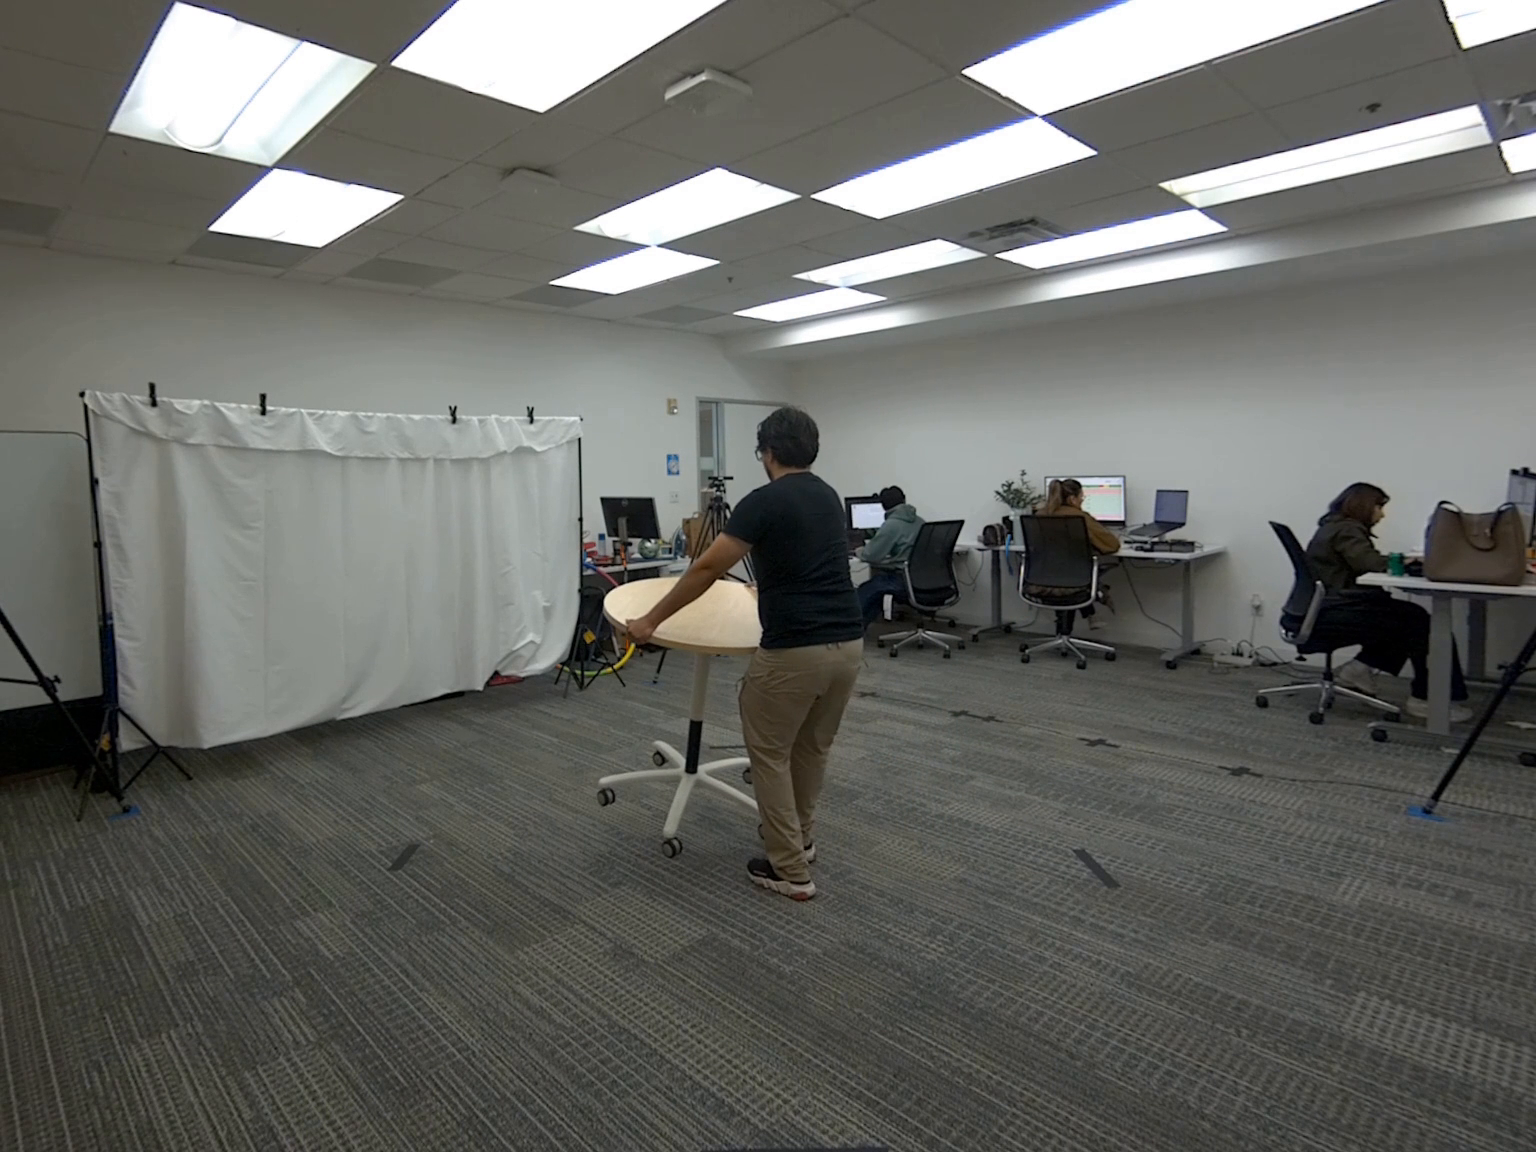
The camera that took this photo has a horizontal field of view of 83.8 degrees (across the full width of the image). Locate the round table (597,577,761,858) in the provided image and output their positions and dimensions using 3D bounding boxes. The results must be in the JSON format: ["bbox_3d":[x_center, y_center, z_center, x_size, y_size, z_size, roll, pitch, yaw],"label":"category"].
[{"bbox_3d":[-0.276,0.505,3.231,0.783,0.778,0.796,5,14,-3],"label":"round table"}]
